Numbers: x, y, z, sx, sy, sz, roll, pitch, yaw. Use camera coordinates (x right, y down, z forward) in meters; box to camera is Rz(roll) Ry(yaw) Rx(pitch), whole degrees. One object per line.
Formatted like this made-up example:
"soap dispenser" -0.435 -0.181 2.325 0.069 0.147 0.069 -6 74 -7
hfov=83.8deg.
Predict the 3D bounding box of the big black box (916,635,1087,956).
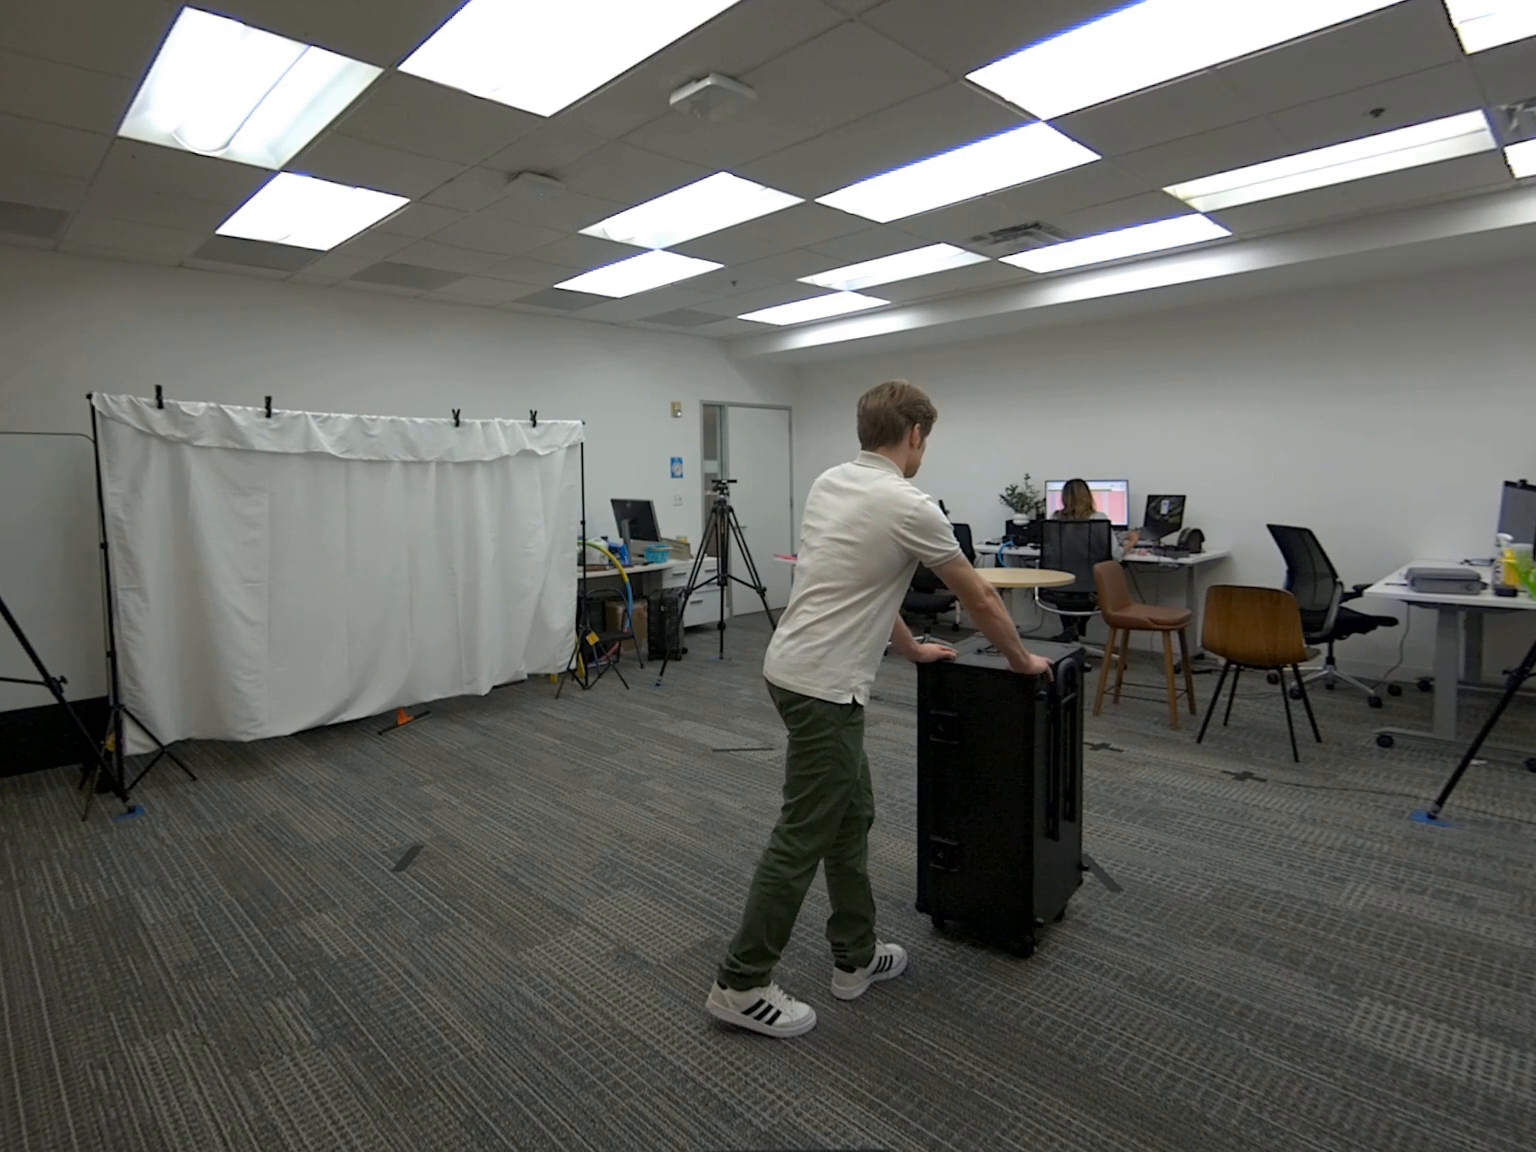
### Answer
"big black box" 0.740 0.658 2.670 0.396 0.865 0.510 2 5 36
